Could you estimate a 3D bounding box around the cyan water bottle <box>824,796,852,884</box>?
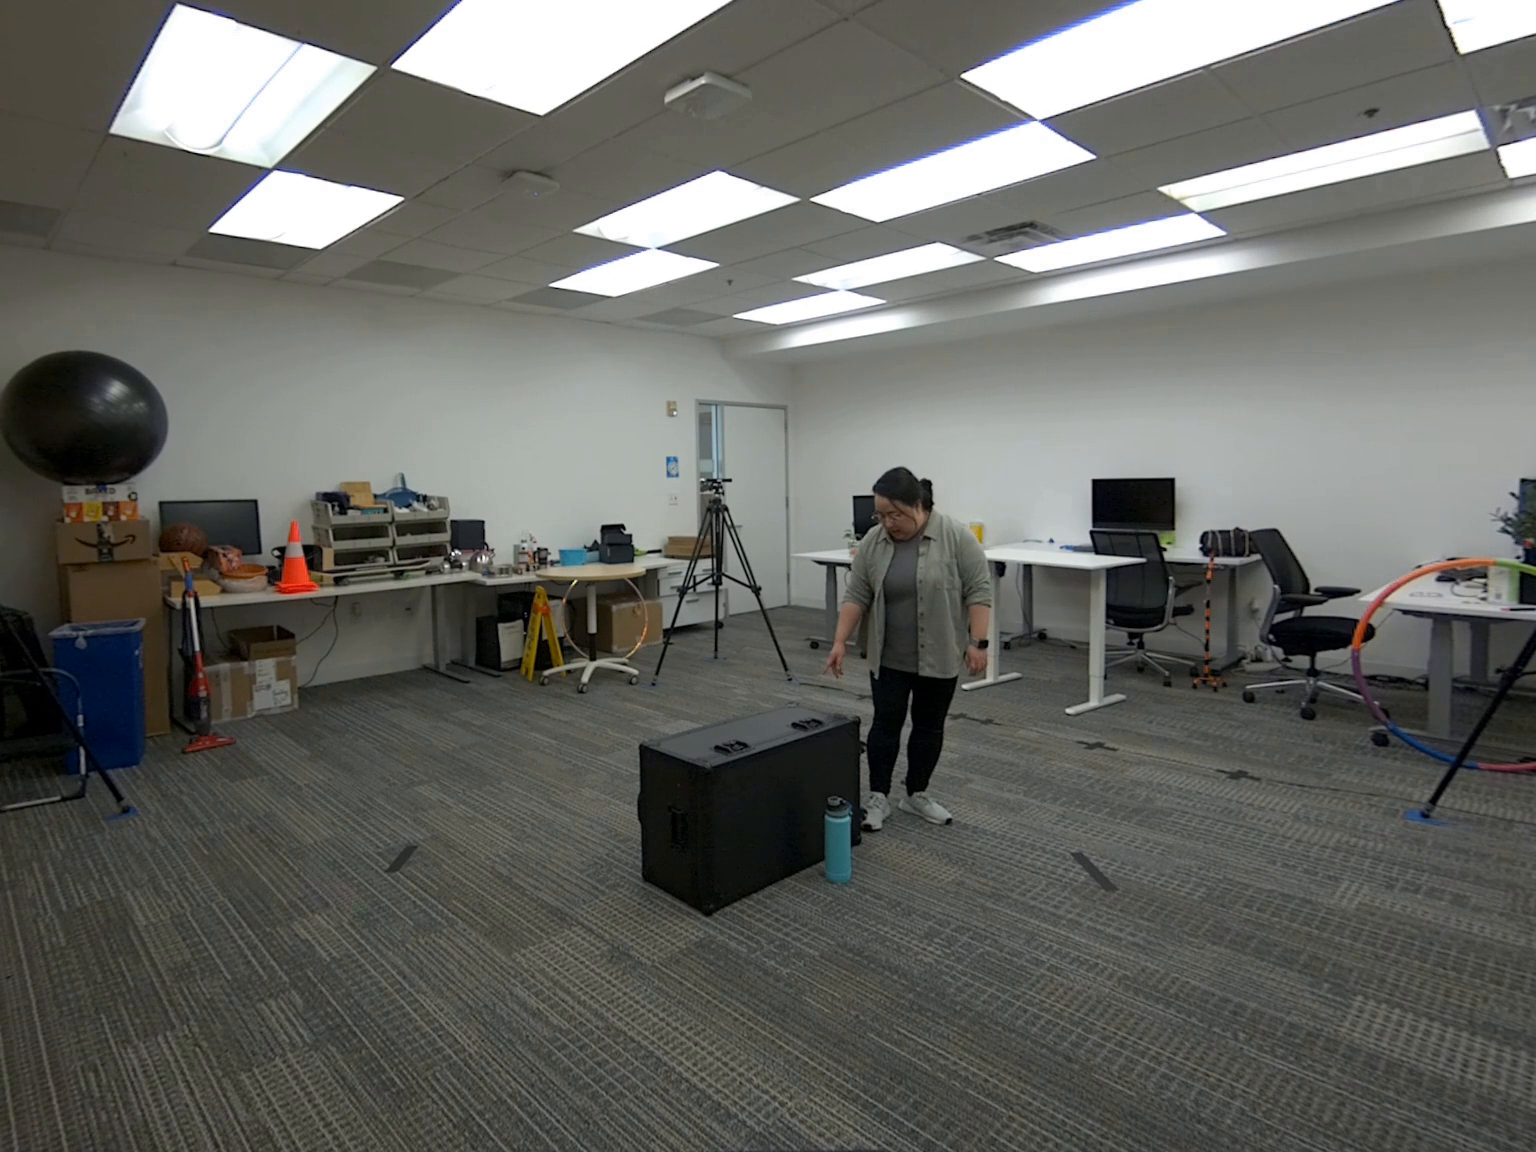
[{"bbox_3d":[0.232,0.912,2.977,0.092,0.282,0.093,1,3,-2],"label":"cyan water bottle"}]
